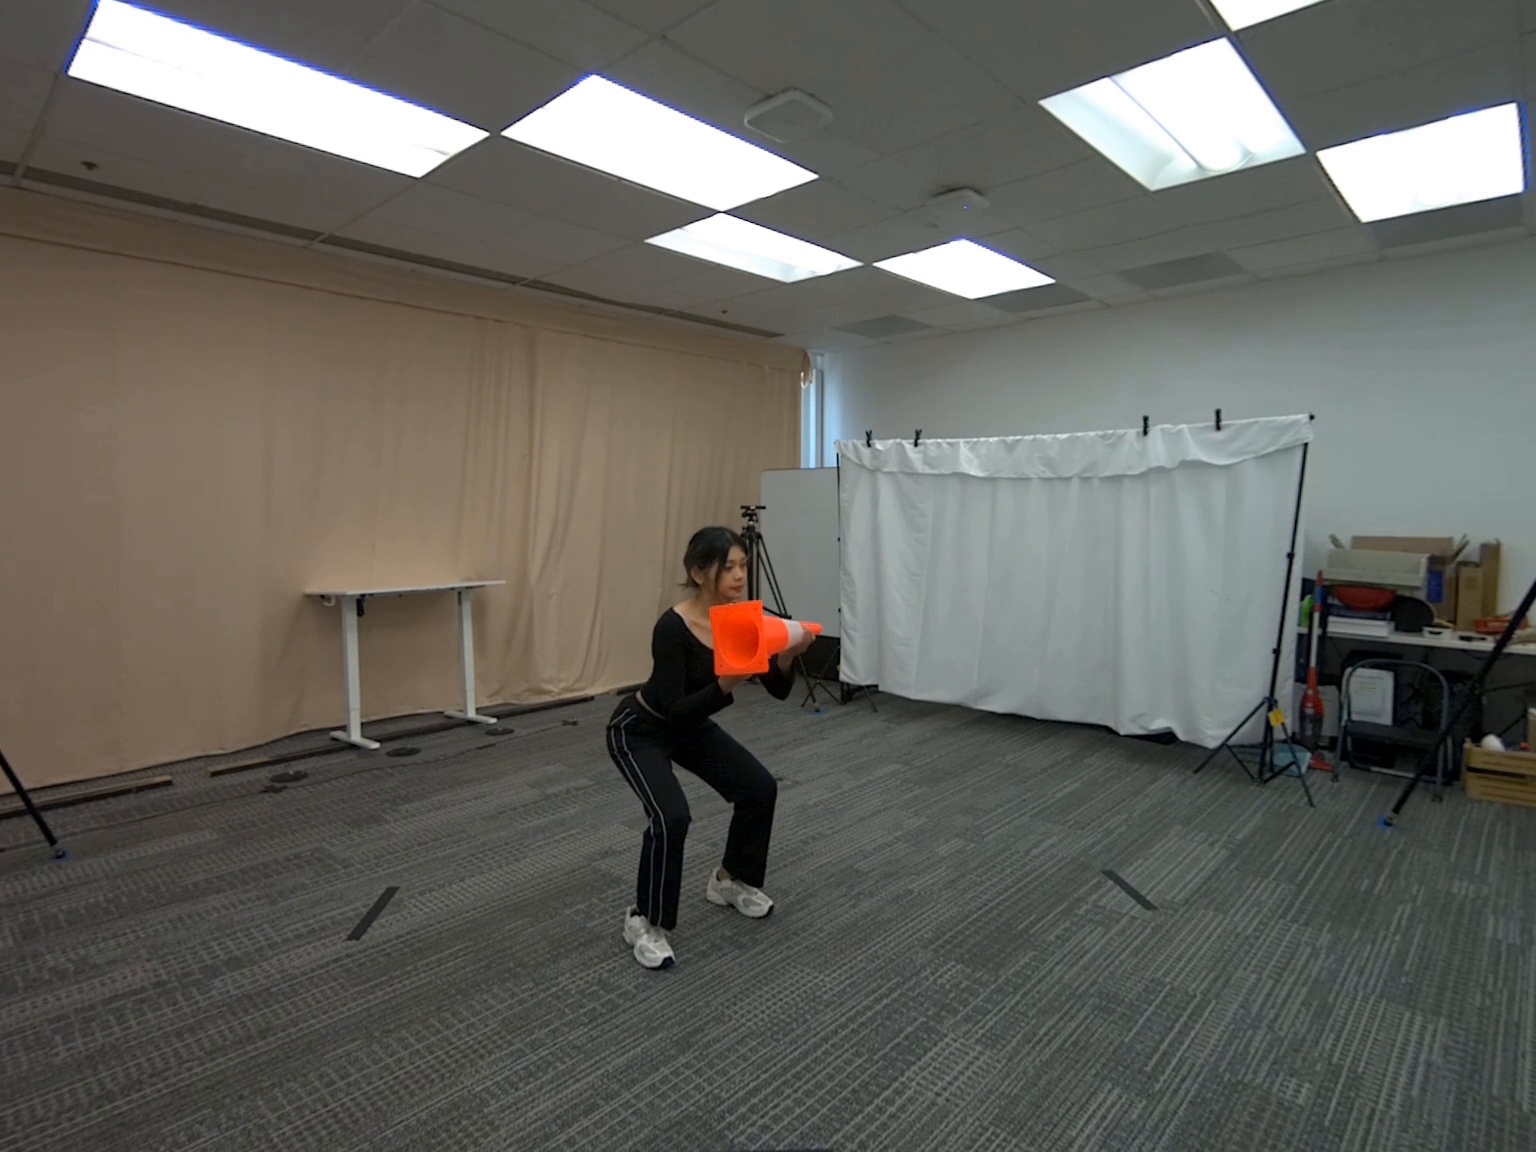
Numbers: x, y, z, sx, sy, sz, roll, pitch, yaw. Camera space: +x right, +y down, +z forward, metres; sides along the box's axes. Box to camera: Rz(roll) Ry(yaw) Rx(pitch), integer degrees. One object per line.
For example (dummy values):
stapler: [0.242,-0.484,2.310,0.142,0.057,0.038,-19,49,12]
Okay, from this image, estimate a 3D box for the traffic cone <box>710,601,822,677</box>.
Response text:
traffic cone: [0.036,0.173,2.515,0.209,0.206,0.372,-11,-6,41]
